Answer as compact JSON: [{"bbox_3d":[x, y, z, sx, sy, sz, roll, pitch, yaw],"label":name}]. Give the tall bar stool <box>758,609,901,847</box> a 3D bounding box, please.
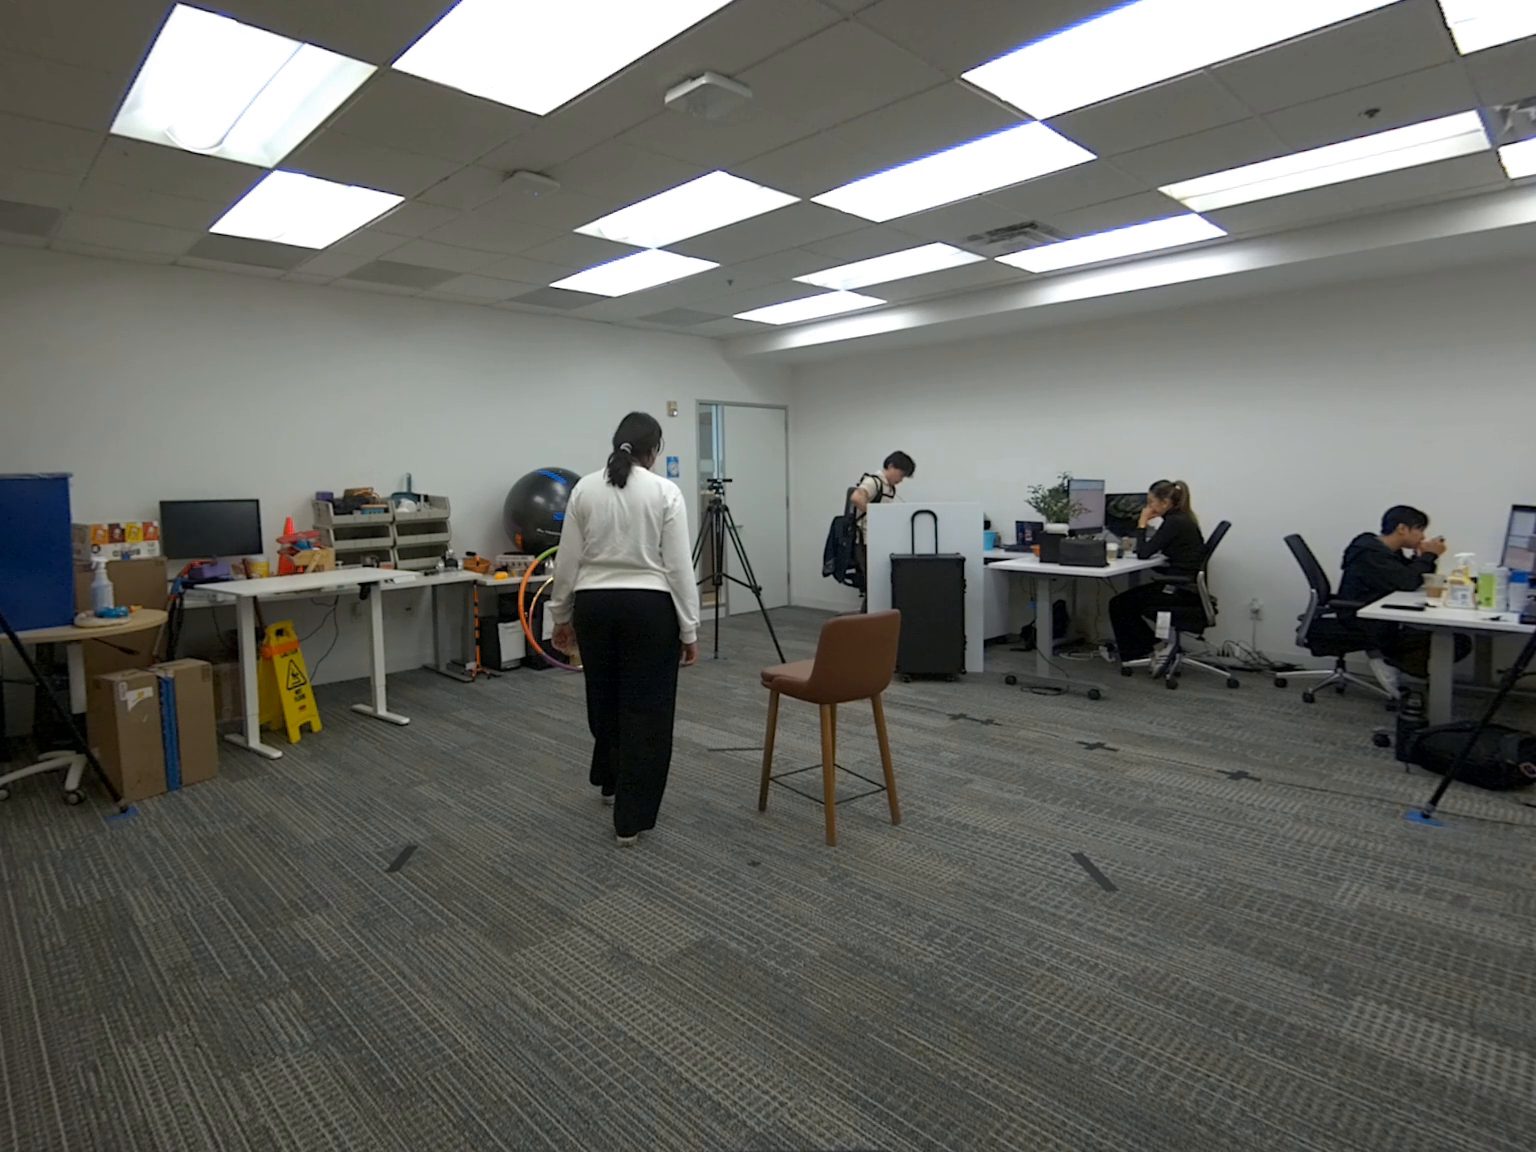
[{"bbox_3d":[0.249,0.559,3.498,0.445,0.885,0.482,-4,7,-36],"label":"tall bar stool"}]
